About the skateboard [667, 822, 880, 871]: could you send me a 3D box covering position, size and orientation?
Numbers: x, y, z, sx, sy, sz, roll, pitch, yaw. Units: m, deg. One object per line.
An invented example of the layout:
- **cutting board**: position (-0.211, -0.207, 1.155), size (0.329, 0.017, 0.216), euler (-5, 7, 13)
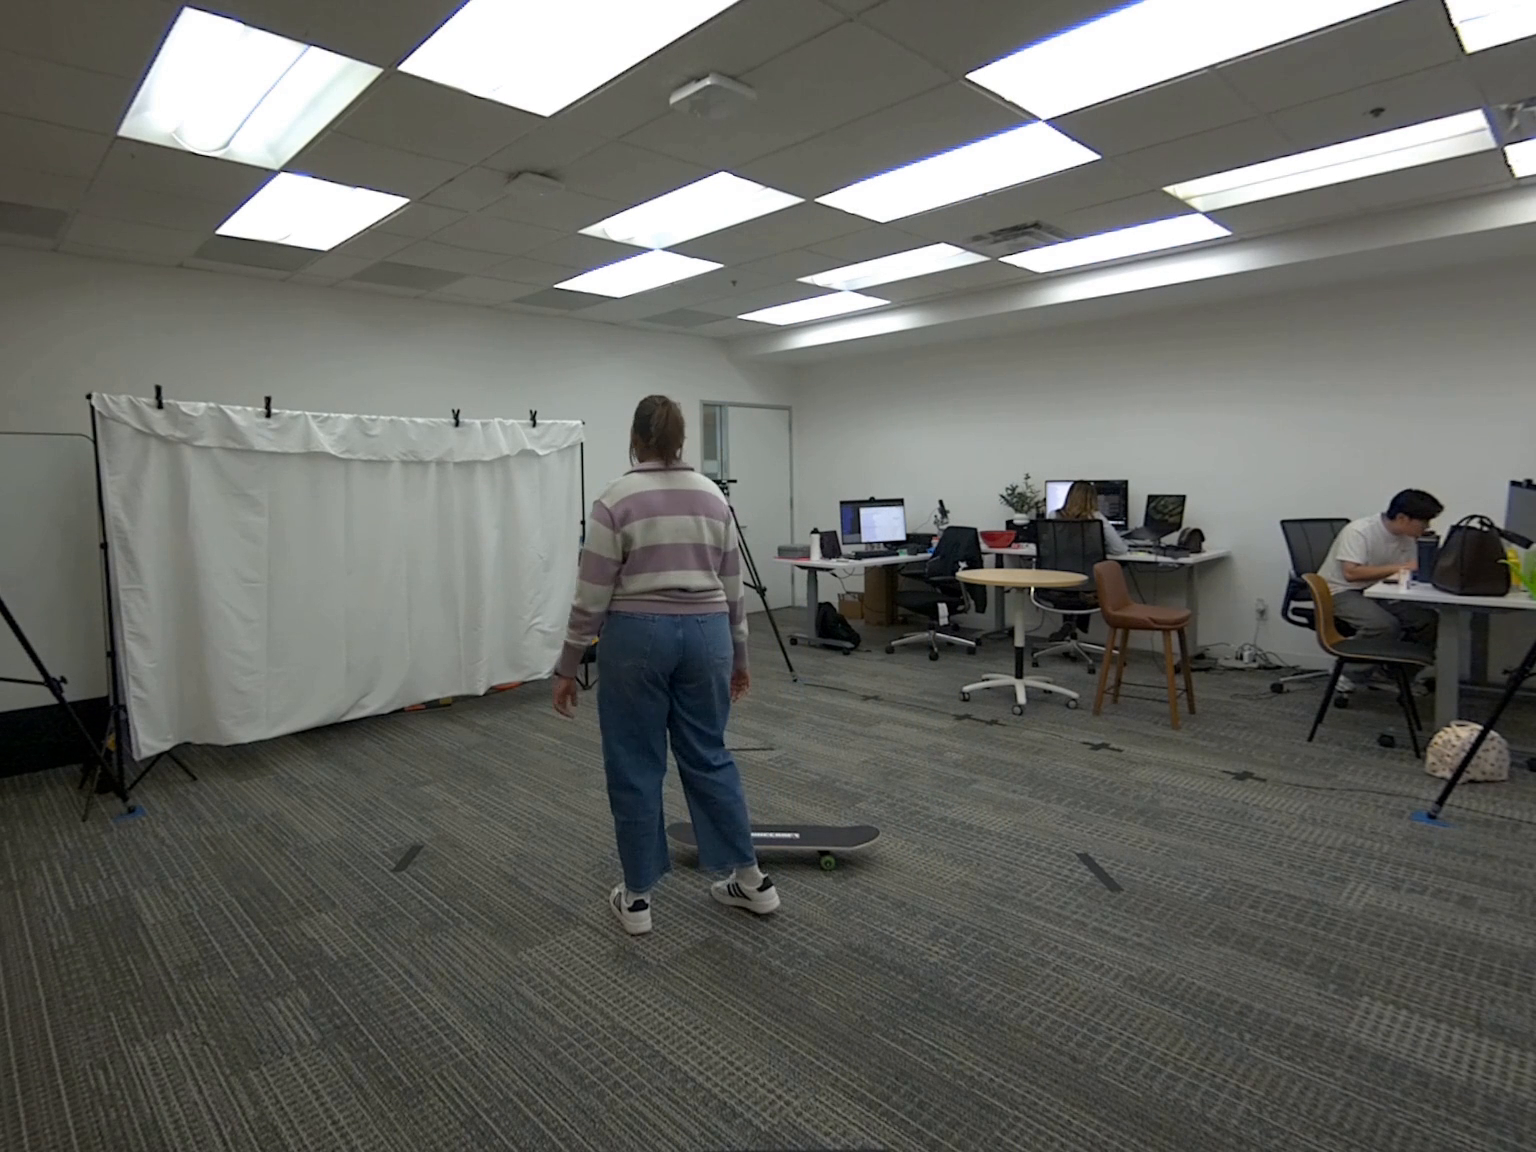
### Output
- **skateboard**: position (0.019, 0.984, 3.141), size (0.789, 0.110, 0.193), euler (0, 6, 5)
